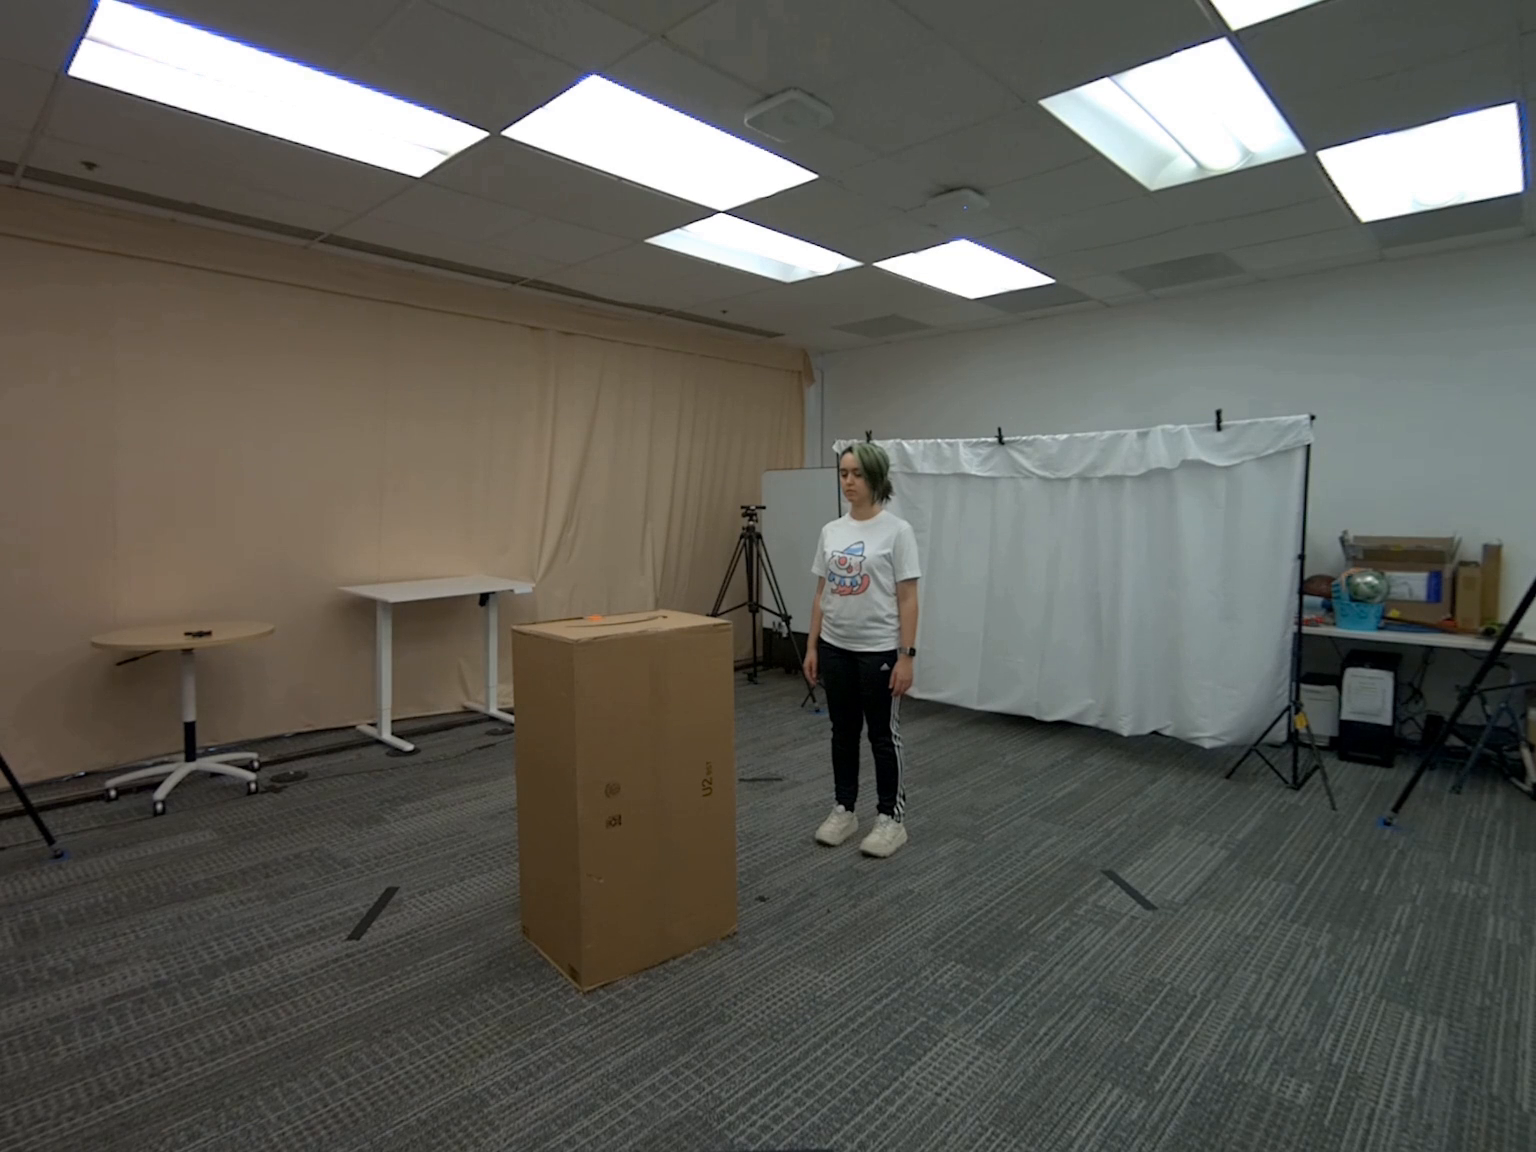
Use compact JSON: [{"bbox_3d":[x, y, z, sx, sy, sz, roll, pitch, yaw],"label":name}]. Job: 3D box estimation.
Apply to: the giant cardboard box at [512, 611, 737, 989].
[{"bbox_3d":[-0.459,0.663,2.716,0.566,1.024,0.461,-3,5,-40],"label":"giant cardboard box"}]
